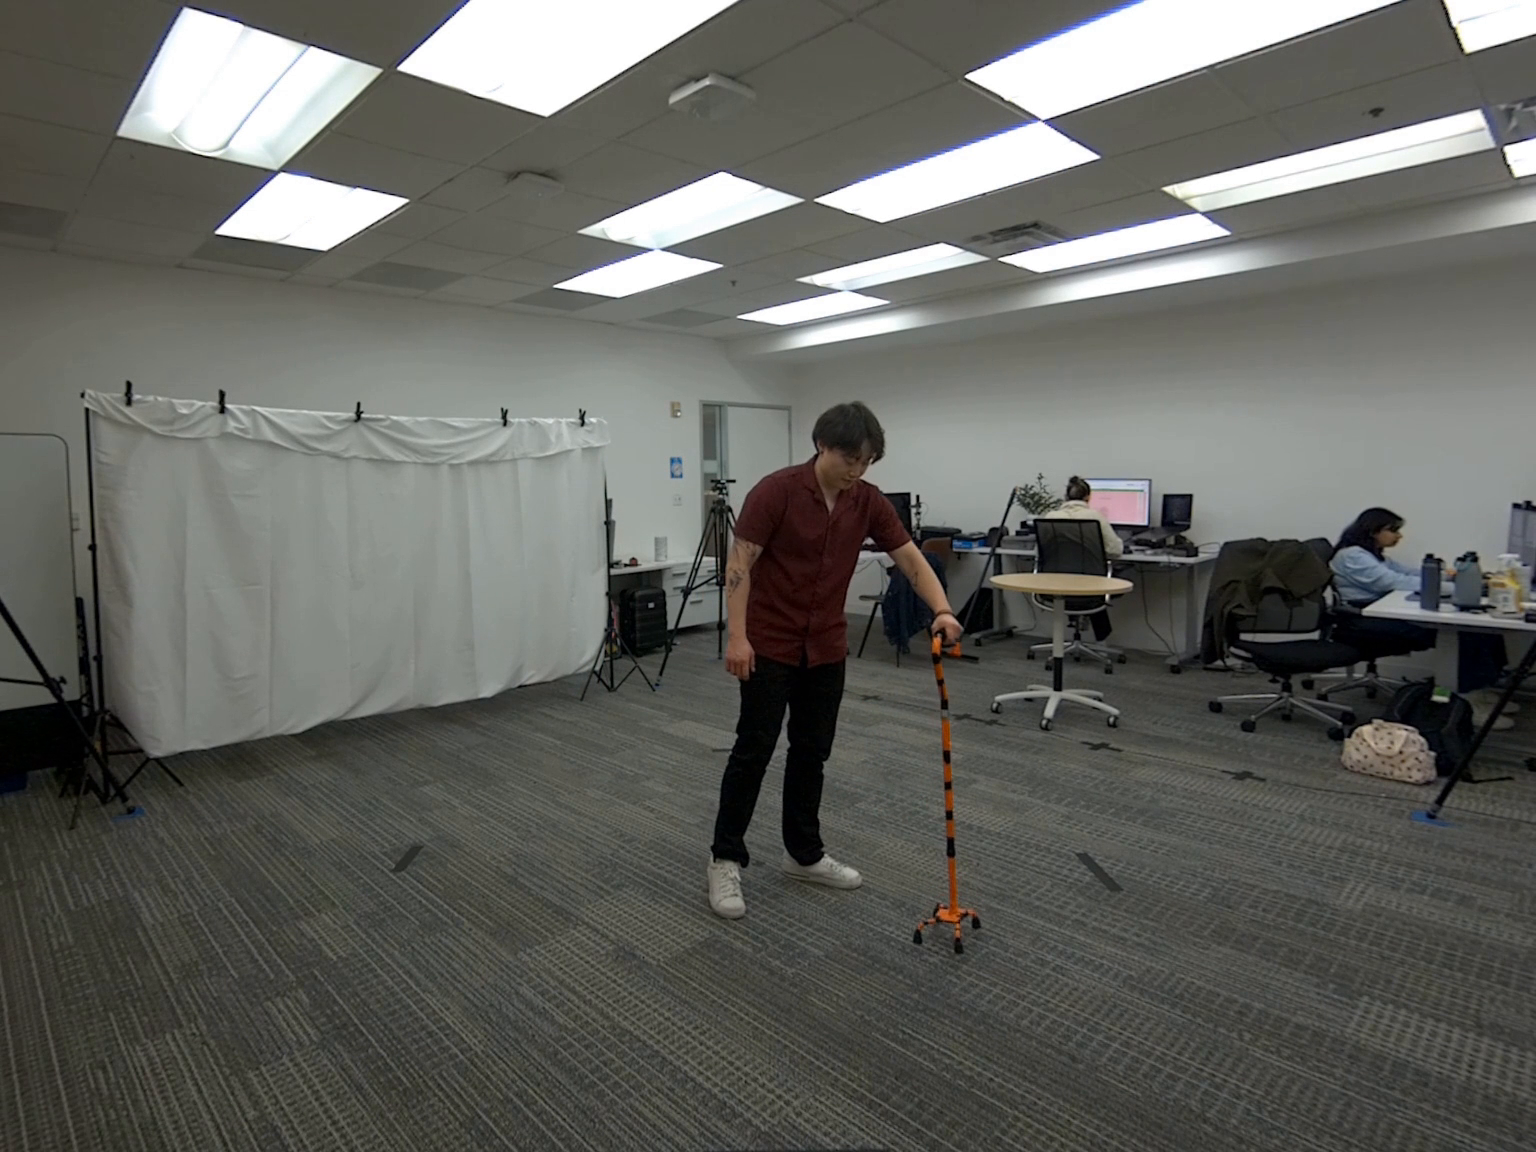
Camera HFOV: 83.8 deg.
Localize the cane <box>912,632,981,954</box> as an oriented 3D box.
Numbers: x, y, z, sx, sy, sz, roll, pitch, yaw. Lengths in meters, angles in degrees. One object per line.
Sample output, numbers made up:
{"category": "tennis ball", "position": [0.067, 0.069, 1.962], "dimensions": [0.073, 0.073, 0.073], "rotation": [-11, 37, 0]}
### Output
{"category": "cane", "position": [0.530, 0.626, 2.565], "dimensions": [0.155, 0.909, 0.201], "rotation": [-2, -1, 30]}
